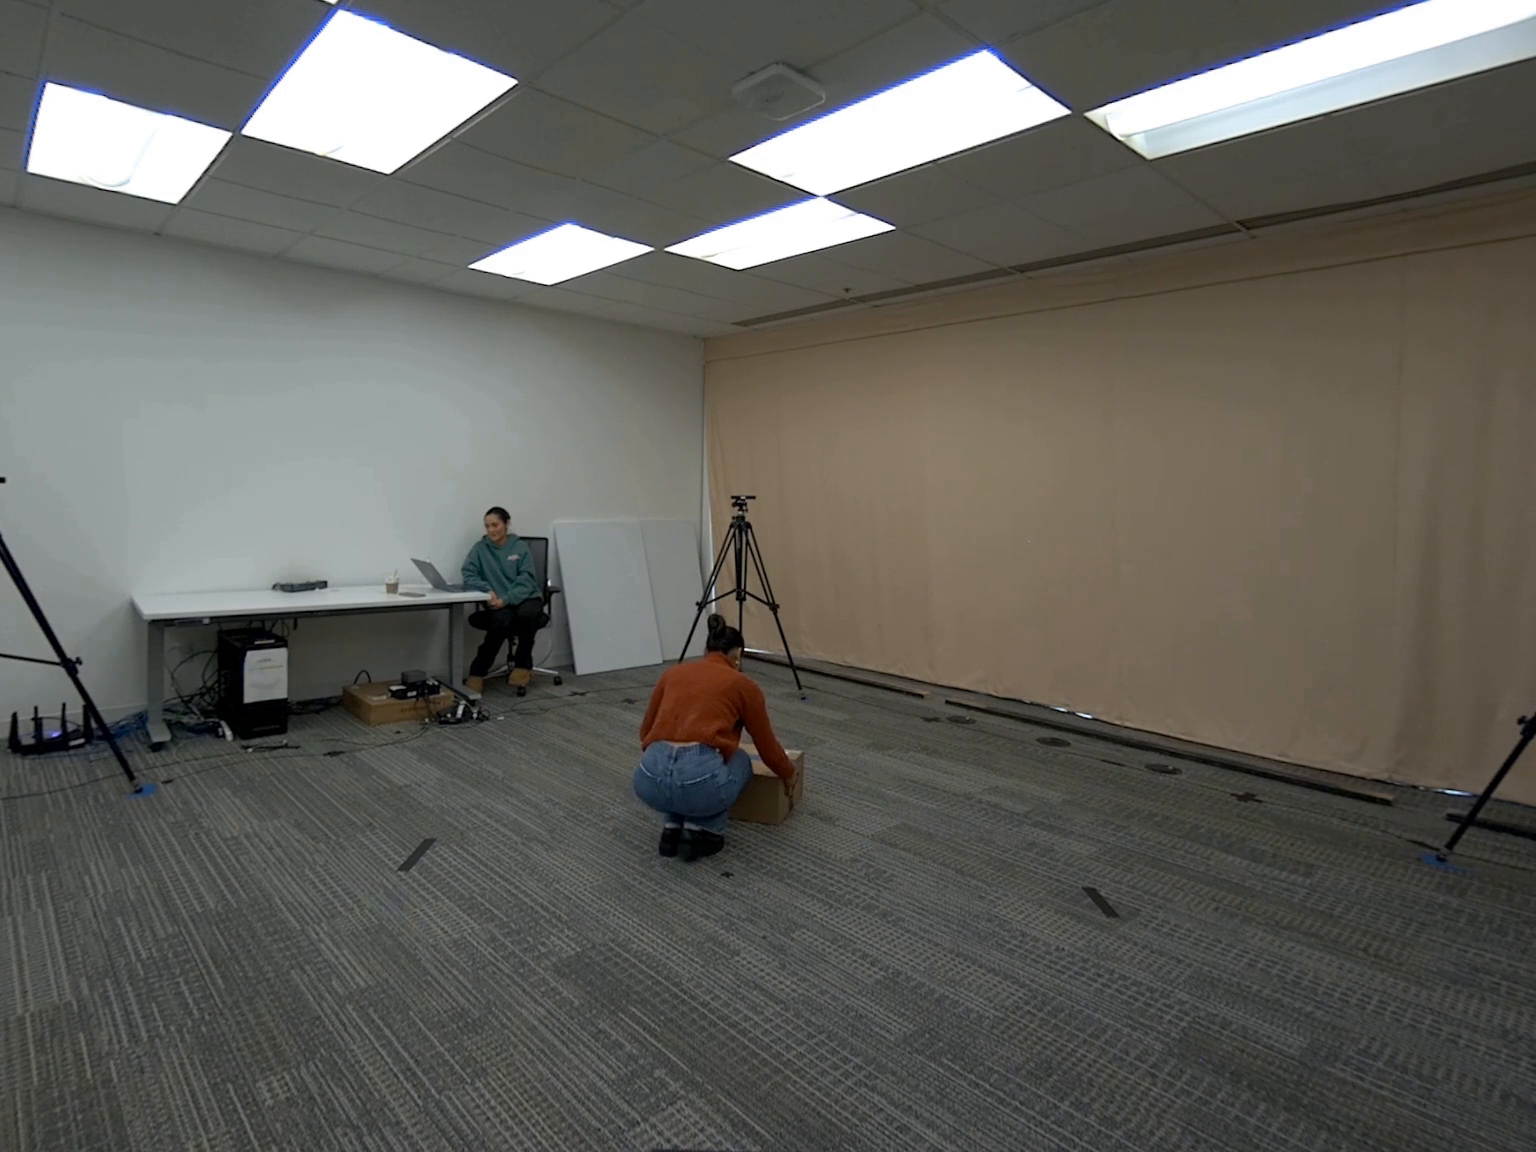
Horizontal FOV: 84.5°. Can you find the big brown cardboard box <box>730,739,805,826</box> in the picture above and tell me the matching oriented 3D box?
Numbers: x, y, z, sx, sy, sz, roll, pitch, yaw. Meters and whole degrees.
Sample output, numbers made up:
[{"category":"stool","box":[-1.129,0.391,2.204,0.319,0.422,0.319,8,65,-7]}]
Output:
[{"category":"big brown cardboard box","box":[-0.163,0.924,3.854,0.597,0.232,0.413,3,5,17]}]
